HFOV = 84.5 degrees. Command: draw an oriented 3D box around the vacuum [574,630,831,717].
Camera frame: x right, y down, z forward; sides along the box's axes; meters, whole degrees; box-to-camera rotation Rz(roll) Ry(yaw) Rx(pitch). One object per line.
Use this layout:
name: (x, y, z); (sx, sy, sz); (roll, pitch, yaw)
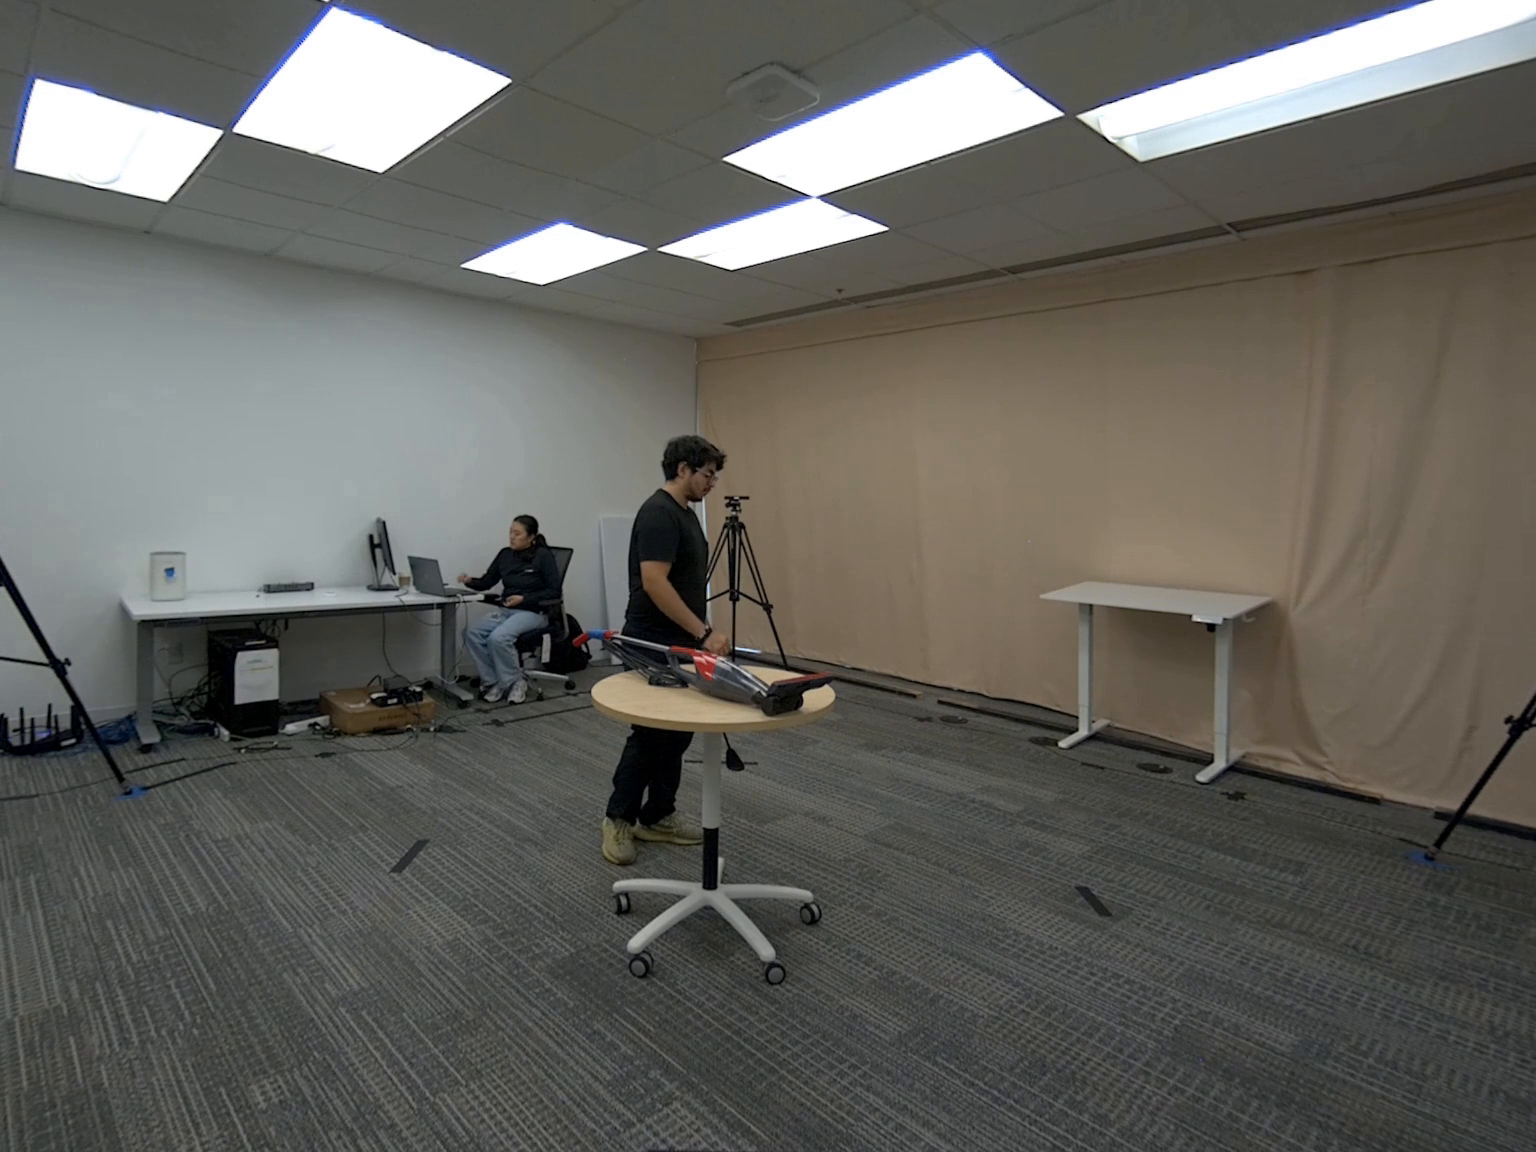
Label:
vacuum: (-0.319, 0.305, 2.719); (1.077, 0.144, 0.246); (7, 0, 44)
